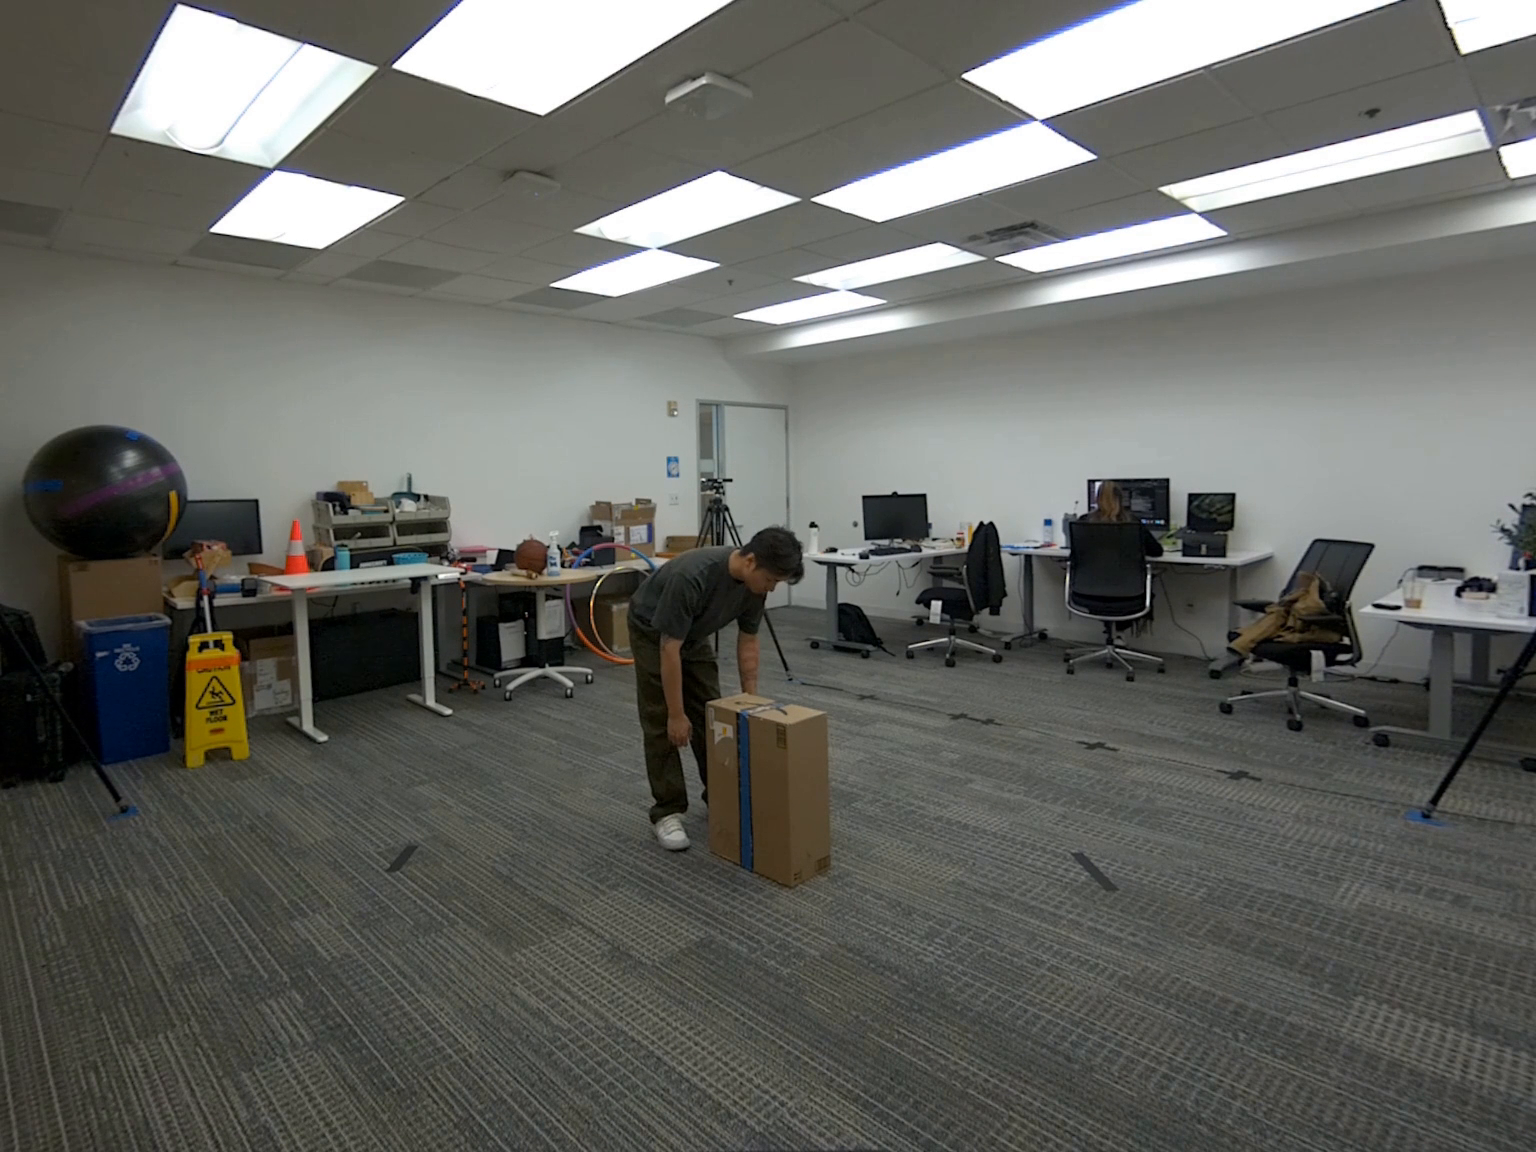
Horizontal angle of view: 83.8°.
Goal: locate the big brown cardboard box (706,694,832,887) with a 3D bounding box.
[{"bbox_3d":[-0.005,0.755,3.115,0.227,0.587,0.430,-5,5,-44],"label":"big brown cardboard box"}]
